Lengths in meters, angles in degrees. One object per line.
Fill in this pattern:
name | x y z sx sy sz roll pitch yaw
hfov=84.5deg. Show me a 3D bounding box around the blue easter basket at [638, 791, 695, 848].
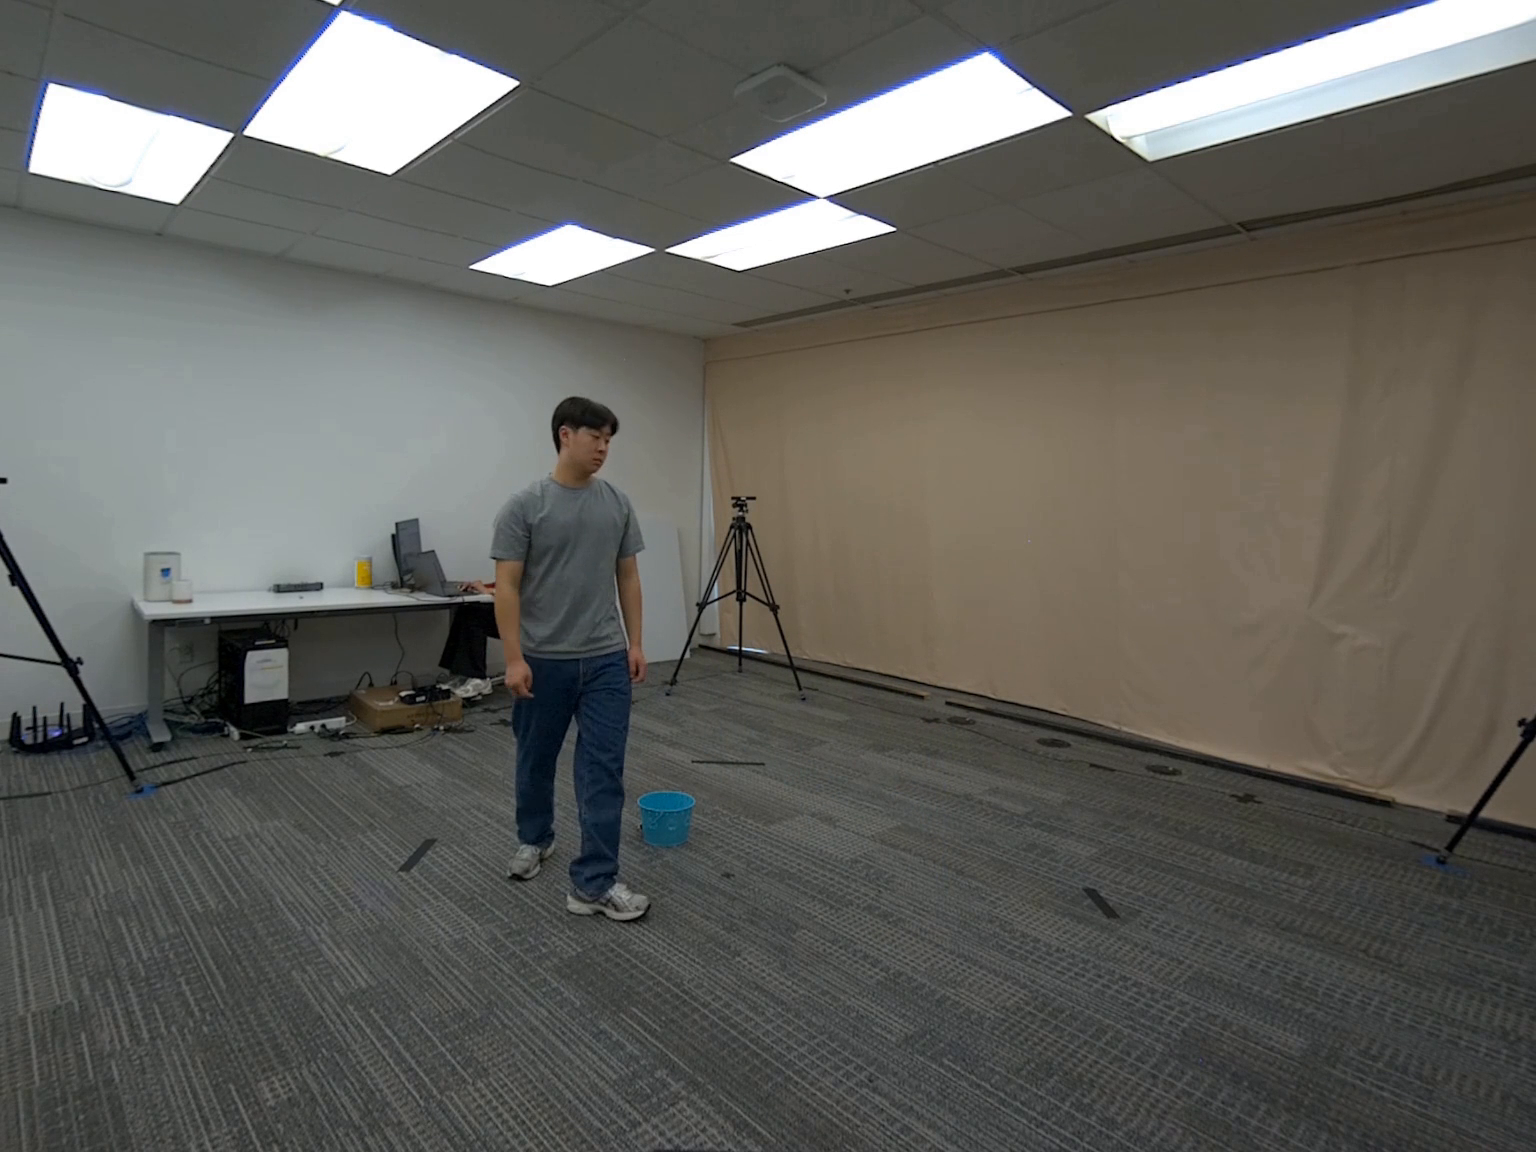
blue easter basket | -0.428 0.992 3.440 0.243 0.155 0.244 2 5 -2
